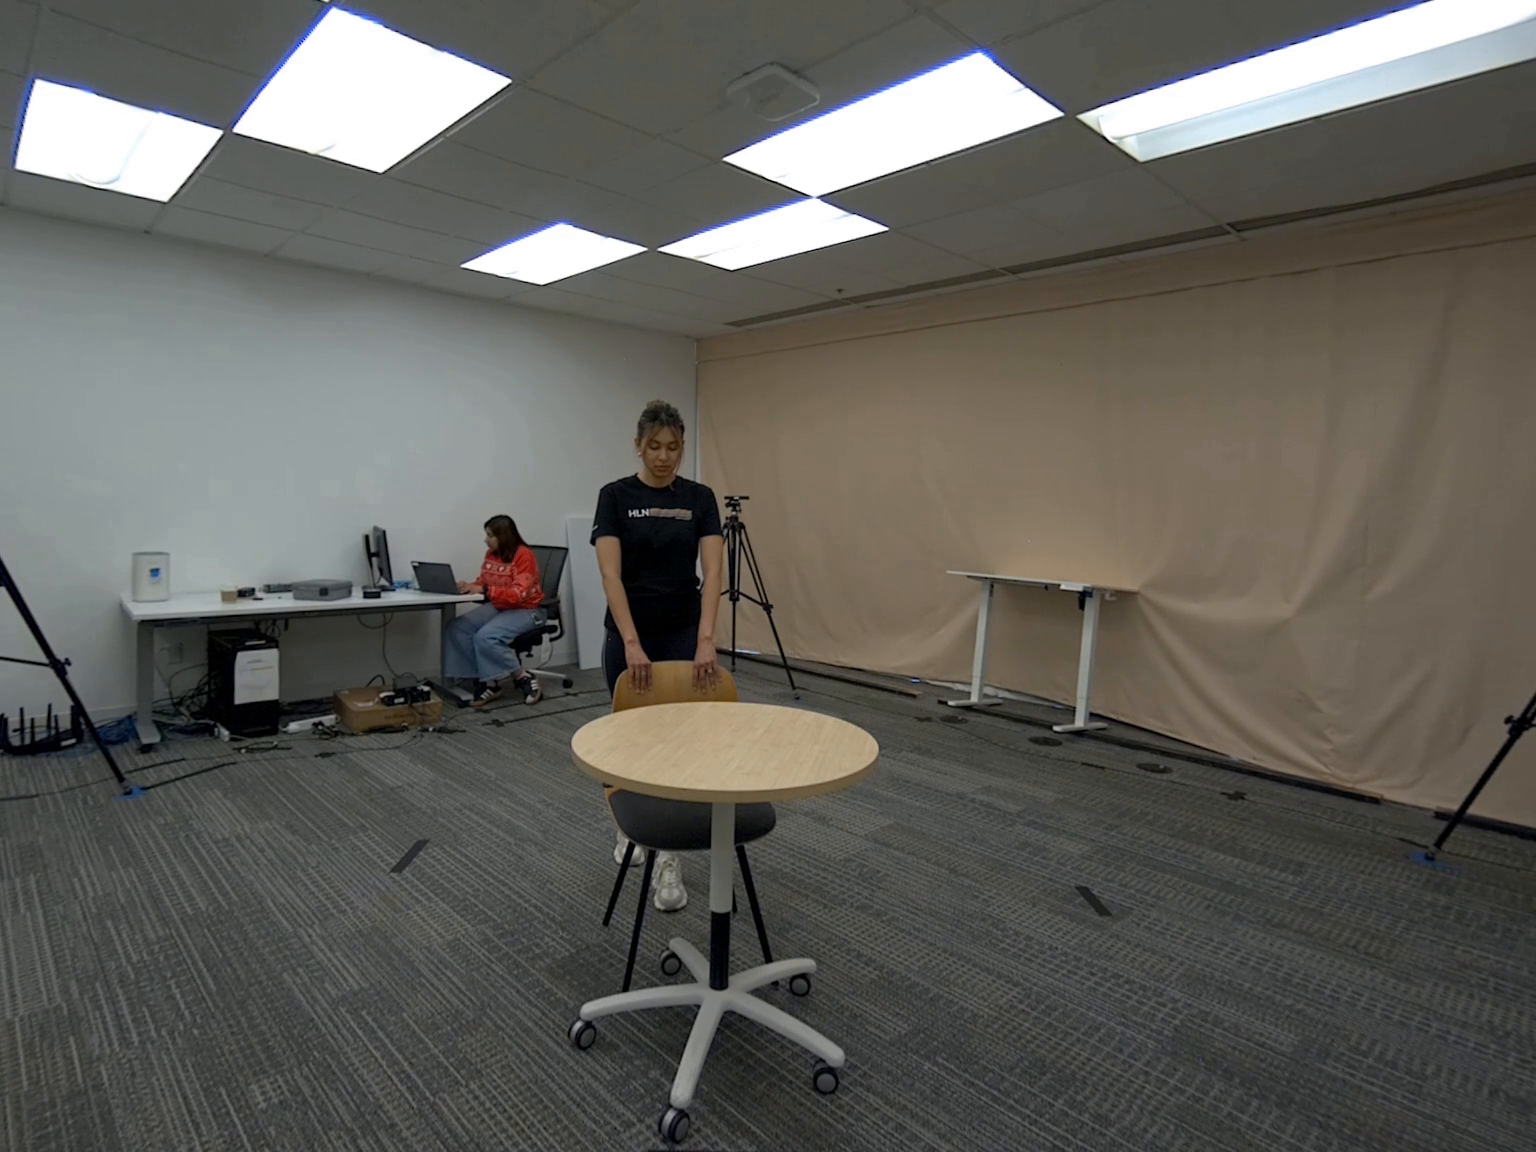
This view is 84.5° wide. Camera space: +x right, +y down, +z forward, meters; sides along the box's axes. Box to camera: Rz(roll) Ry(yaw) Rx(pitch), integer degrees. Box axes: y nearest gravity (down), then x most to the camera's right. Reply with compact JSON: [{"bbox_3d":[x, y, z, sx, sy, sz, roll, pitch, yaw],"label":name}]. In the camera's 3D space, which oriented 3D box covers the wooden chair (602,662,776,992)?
[{"bbox_3d":[-0.244,0.727,2.526,0.472,0.878,0.529,1,-1,-16],"label":"wooden chair"}]
